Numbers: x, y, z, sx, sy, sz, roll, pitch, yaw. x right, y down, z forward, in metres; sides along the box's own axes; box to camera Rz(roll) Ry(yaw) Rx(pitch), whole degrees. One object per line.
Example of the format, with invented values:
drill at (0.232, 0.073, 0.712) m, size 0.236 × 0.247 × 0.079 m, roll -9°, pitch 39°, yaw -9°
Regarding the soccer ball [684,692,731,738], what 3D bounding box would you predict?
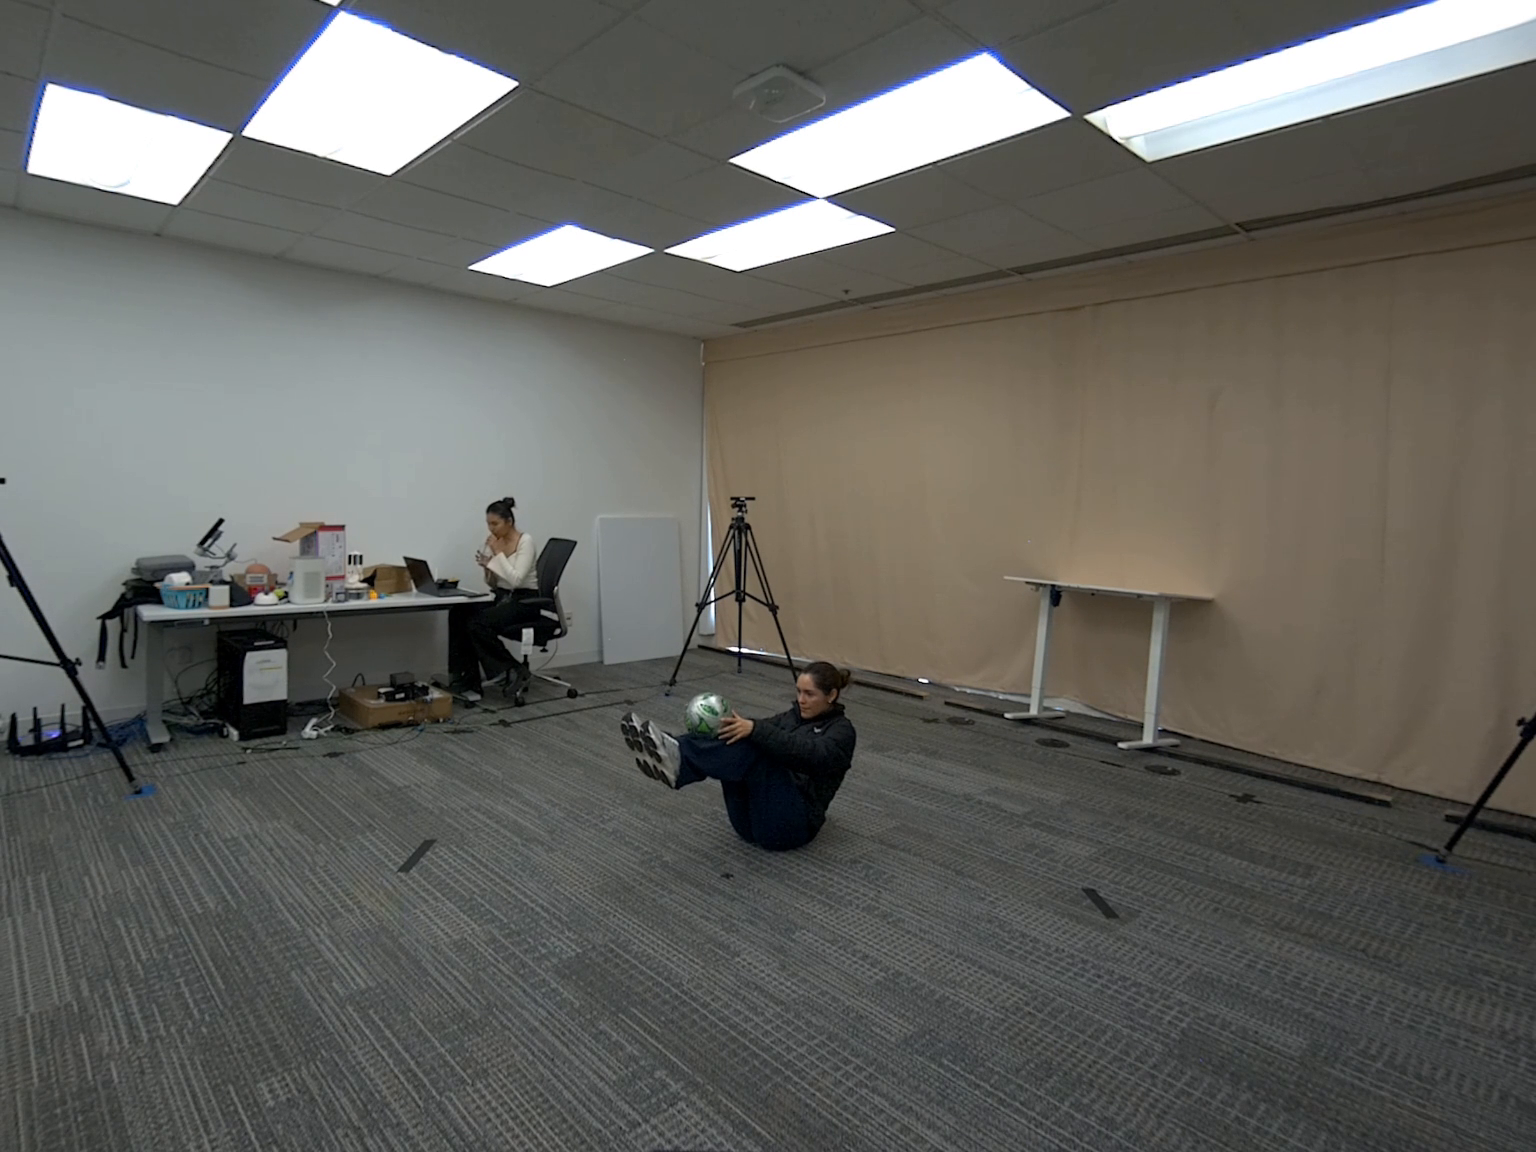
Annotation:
soccer ball at (-0.241, 0.548, 3.230) m, size 0.187 × 0.186 × 0.188 m, roll 0°, pitch 7°, yaw -1°
